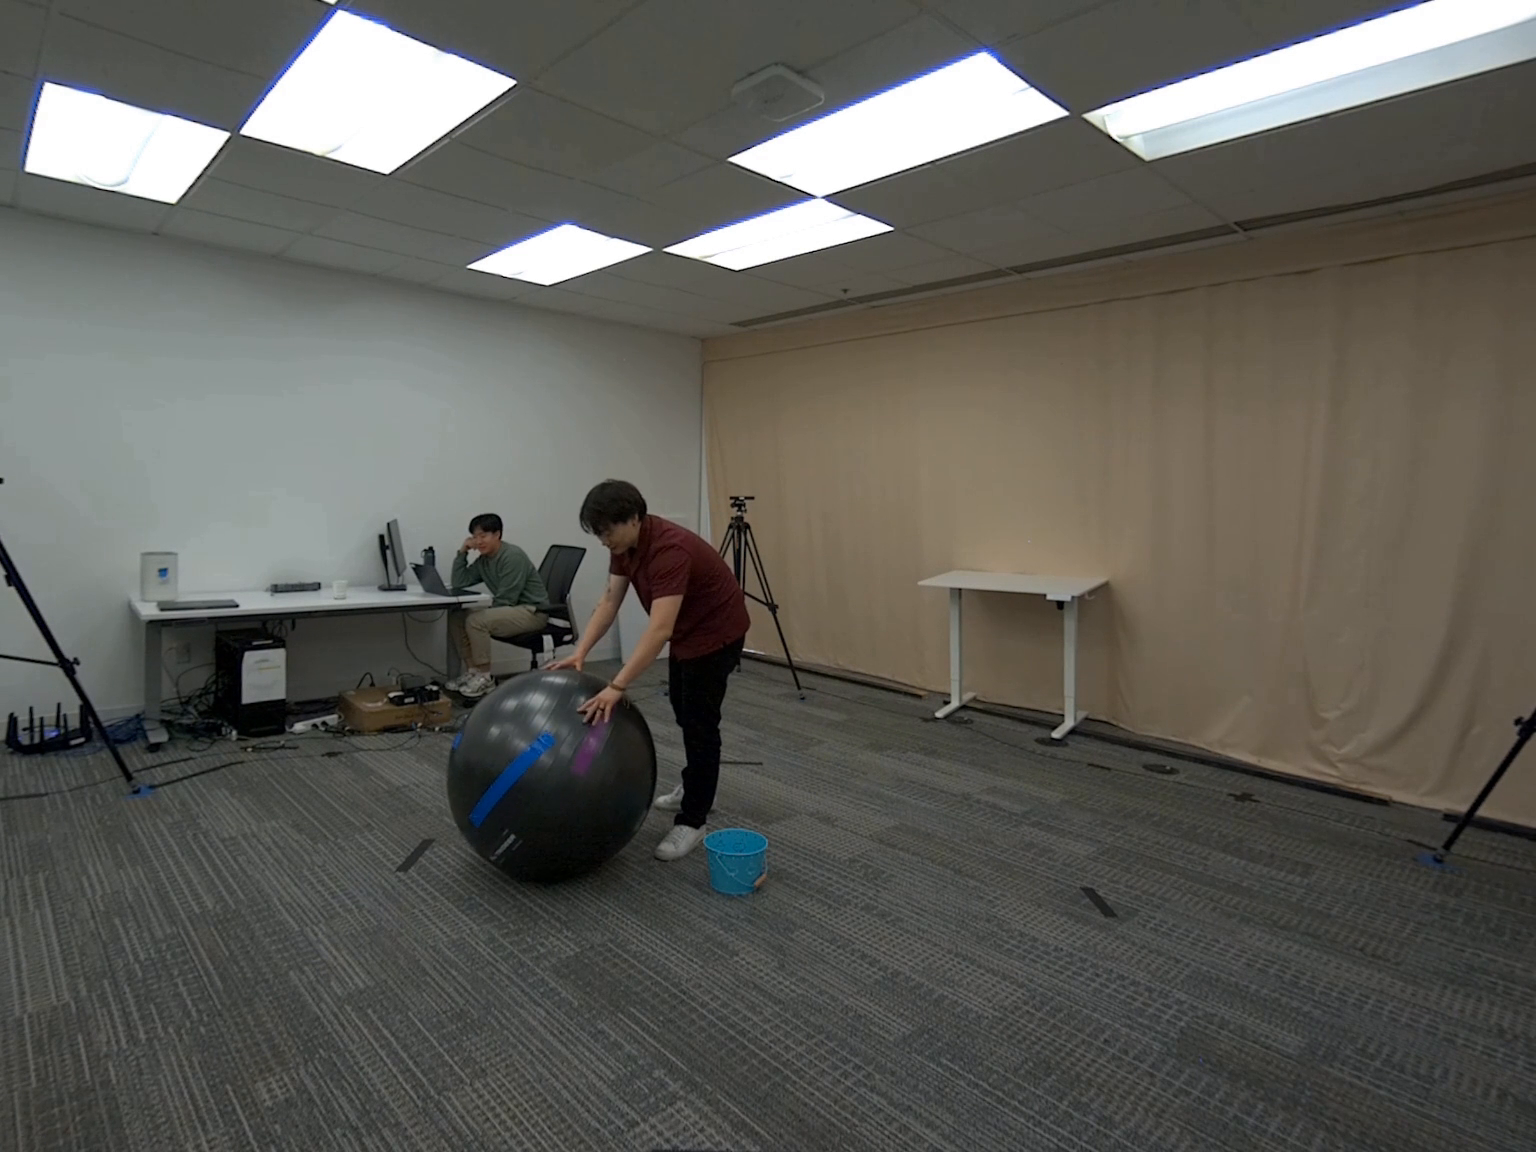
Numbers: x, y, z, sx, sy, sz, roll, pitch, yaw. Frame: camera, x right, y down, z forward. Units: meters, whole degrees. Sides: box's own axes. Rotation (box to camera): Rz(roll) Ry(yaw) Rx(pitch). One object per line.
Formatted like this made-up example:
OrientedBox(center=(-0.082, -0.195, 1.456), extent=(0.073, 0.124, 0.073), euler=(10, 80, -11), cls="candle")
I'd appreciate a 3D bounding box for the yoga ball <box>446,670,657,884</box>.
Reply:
OrientedBox(center=(-0.808, 0.732, 3.122), extent=(0.757, 0.756, 0.761), euler=(1, 4, -1), cls="yoga ball")
